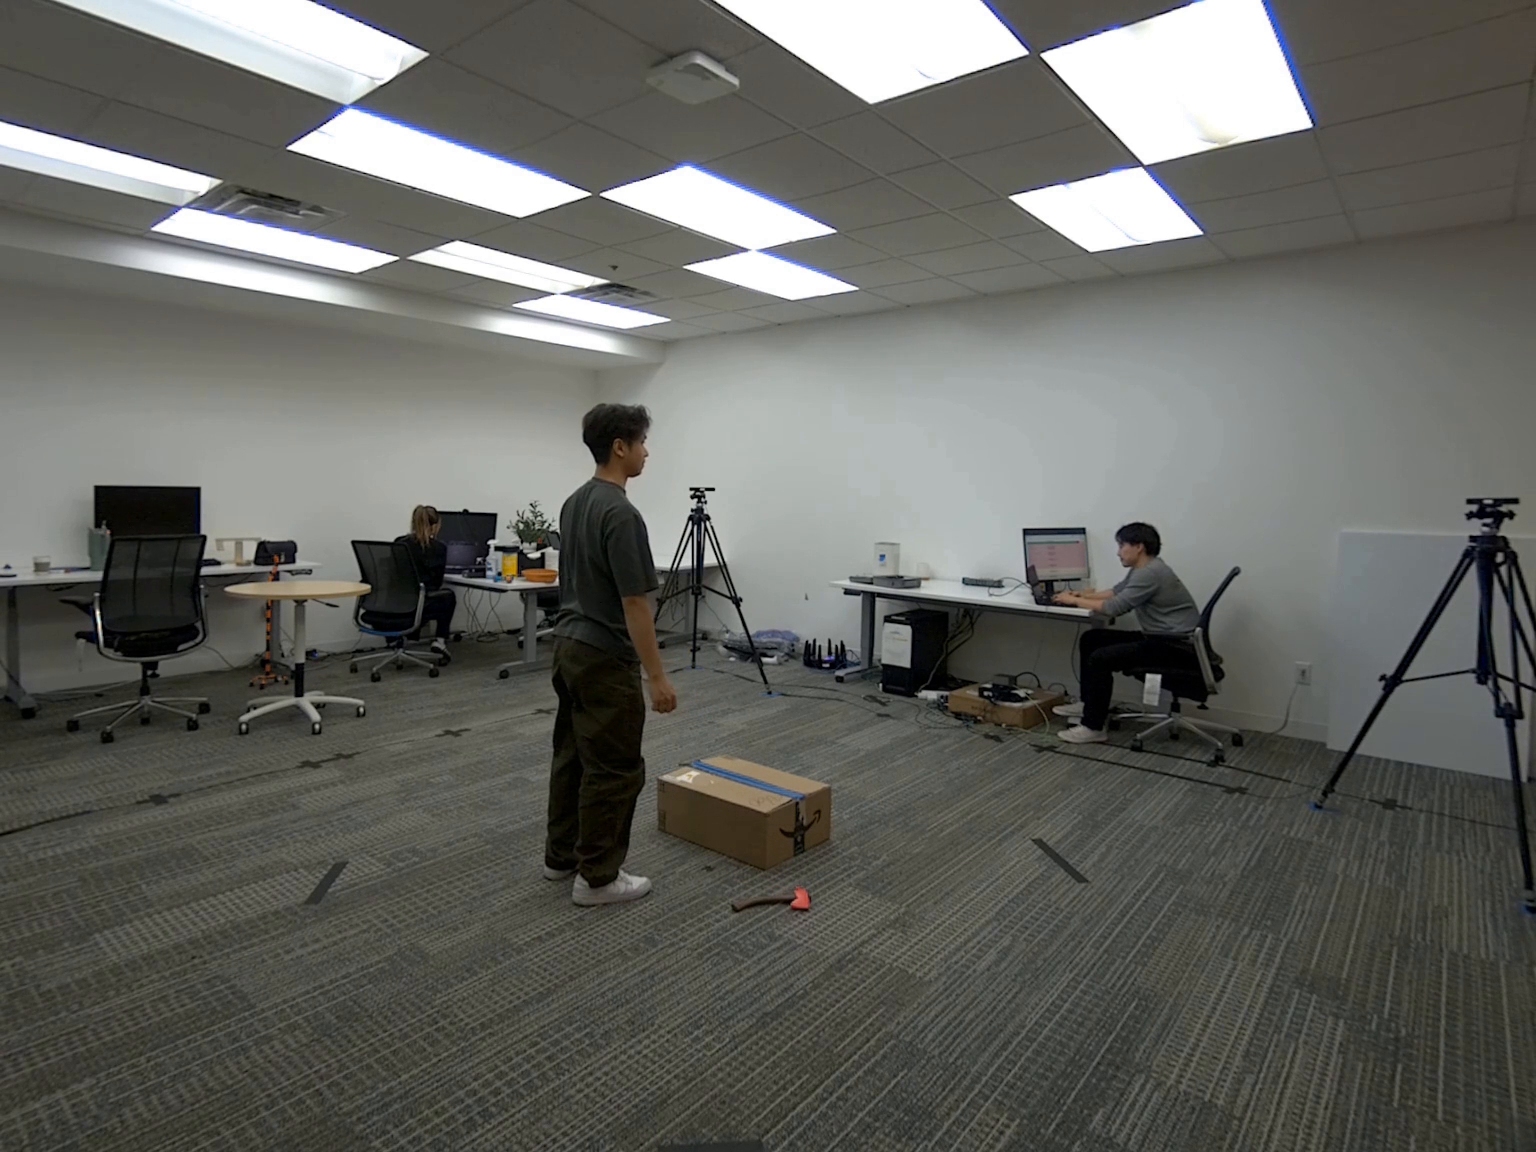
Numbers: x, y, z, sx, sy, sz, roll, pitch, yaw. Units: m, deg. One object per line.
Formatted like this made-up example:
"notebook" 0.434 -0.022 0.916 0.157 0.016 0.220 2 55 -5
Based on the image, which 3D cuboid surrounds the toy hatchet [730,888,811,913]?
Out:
"toy hatchet" 0.014 1.095 2.812 0.263 0.029 0.135 -4 9 -28
